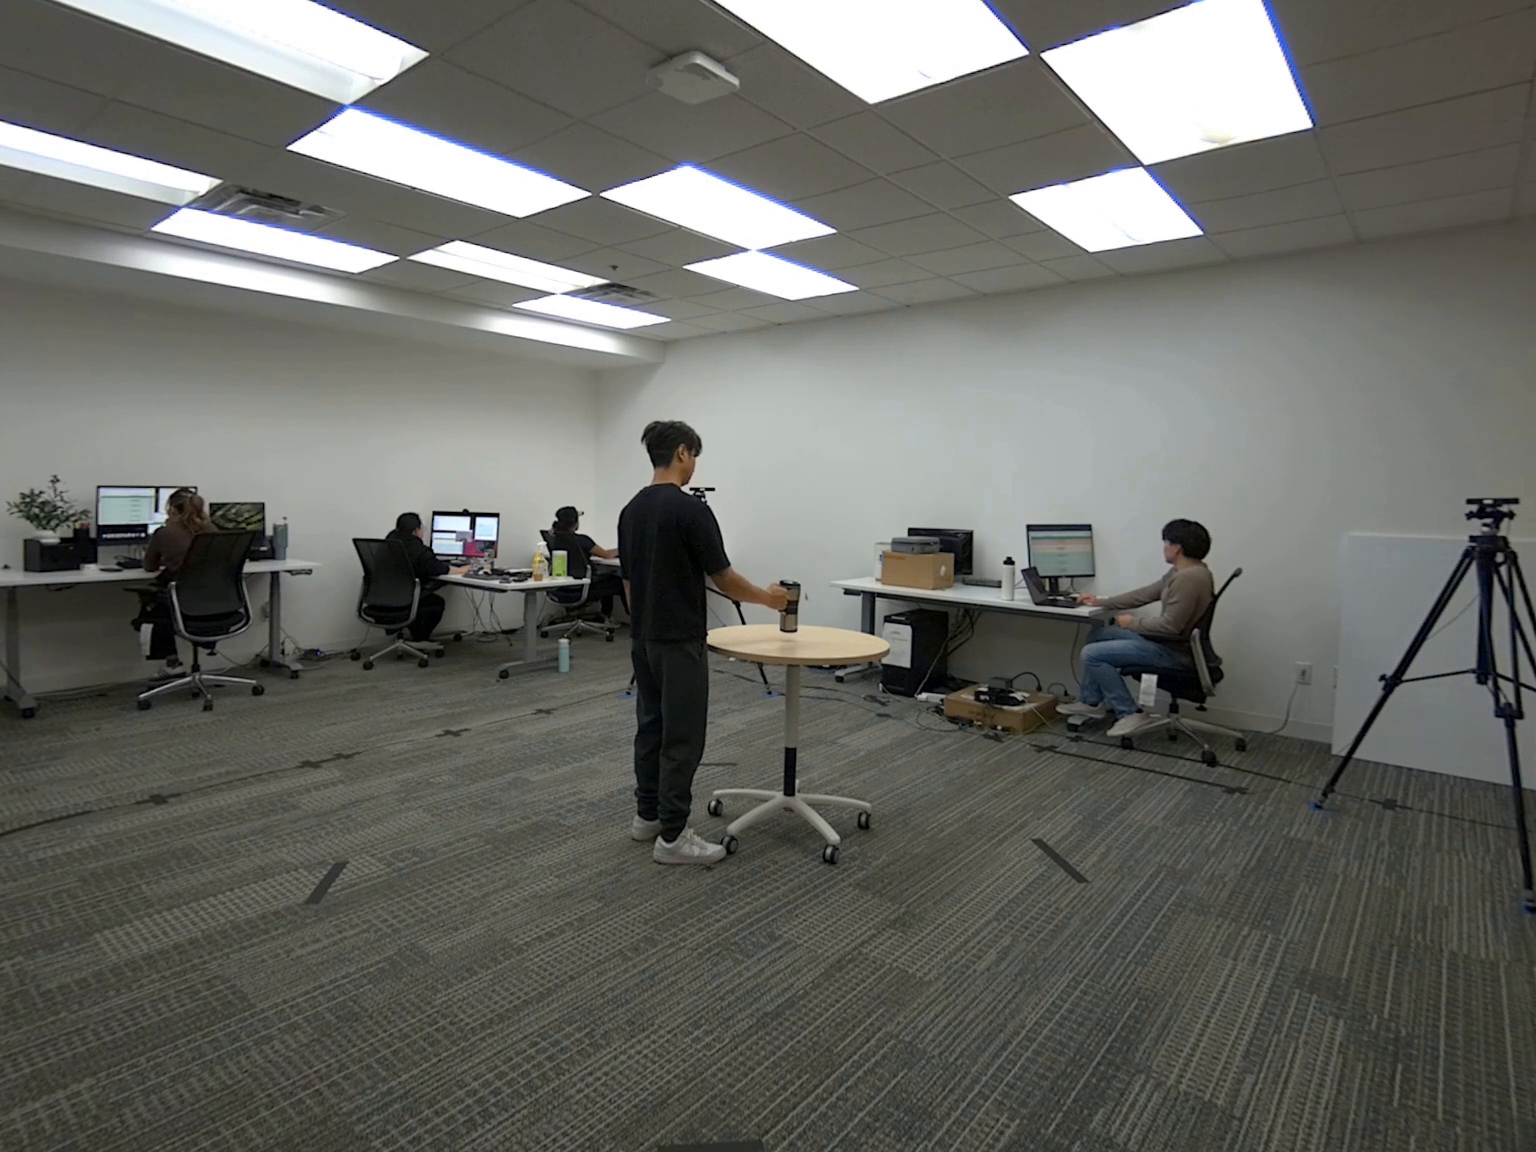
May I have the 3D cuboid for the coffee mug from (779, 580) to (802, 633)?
[{"bbox_3d":[0.053,0.125,3.409,0.118,0.202,0.091,0,7,-38],"label":"coffee mug"}]
